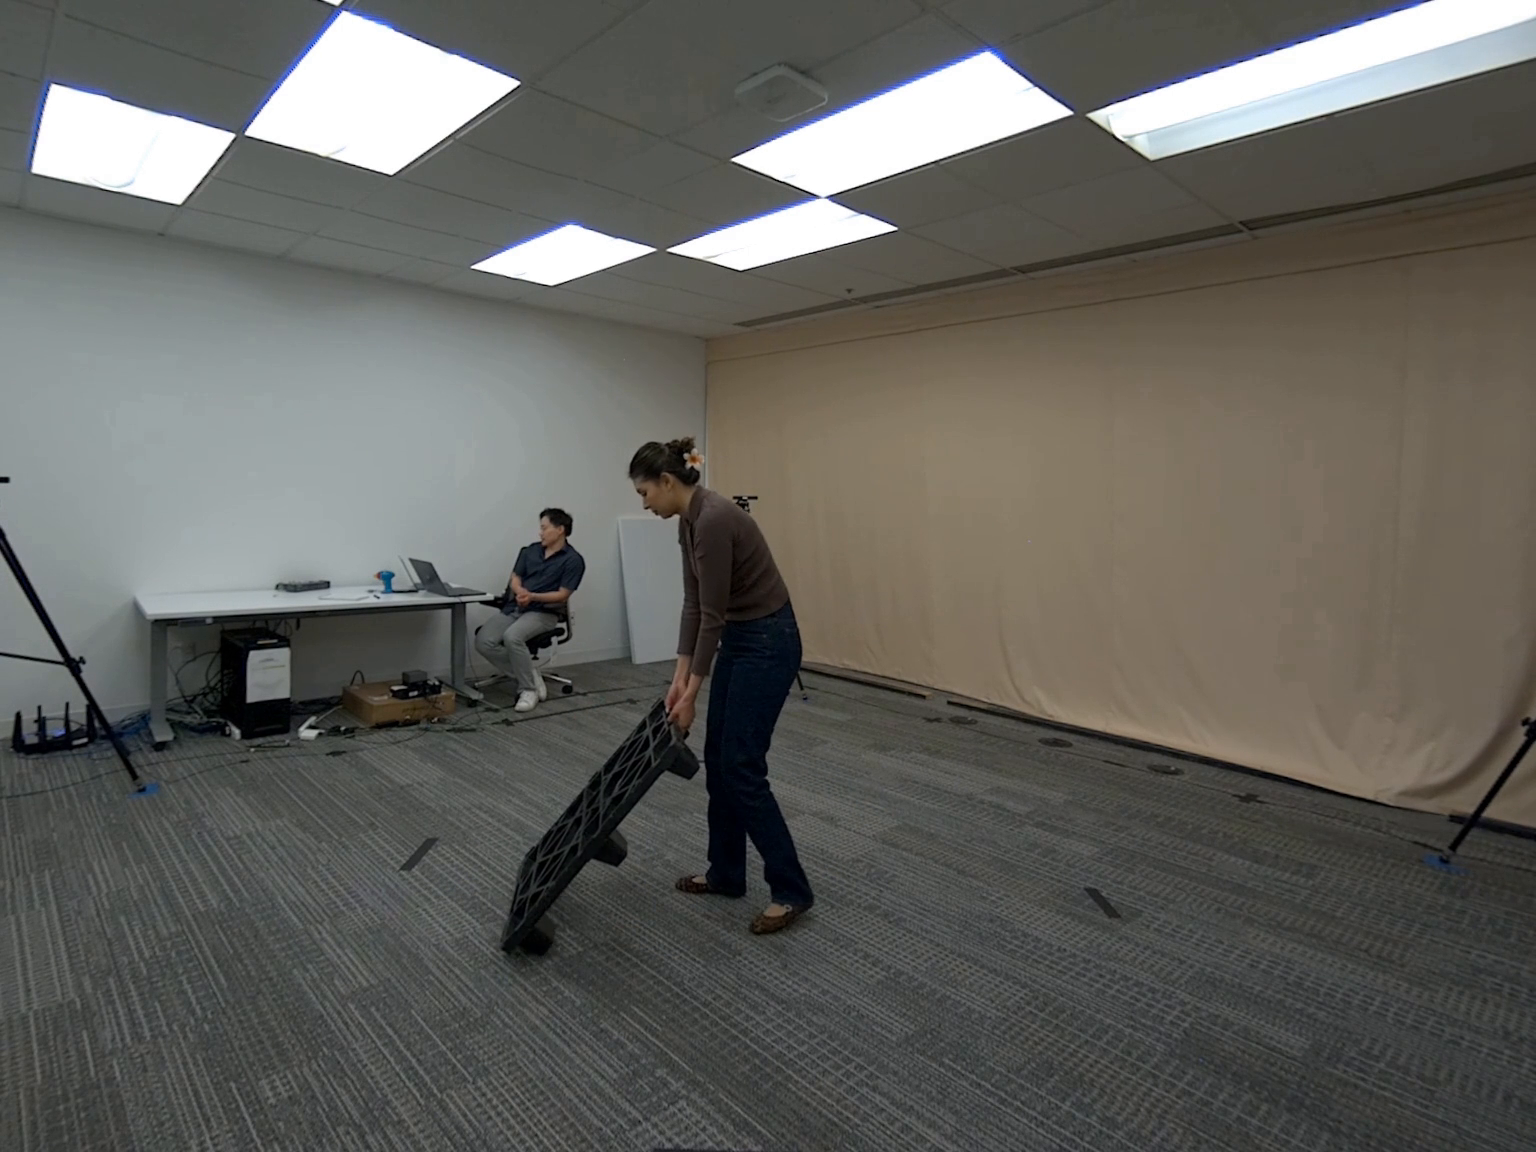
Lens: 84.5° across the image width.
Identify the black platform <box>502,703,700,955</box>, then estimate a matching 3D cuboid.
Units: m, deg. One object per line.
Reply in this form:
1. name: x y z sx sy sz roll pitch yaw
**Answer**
1. black platform: -0.534 0.805 2.748 0.142 0.805 0.611 40 -2 -11
